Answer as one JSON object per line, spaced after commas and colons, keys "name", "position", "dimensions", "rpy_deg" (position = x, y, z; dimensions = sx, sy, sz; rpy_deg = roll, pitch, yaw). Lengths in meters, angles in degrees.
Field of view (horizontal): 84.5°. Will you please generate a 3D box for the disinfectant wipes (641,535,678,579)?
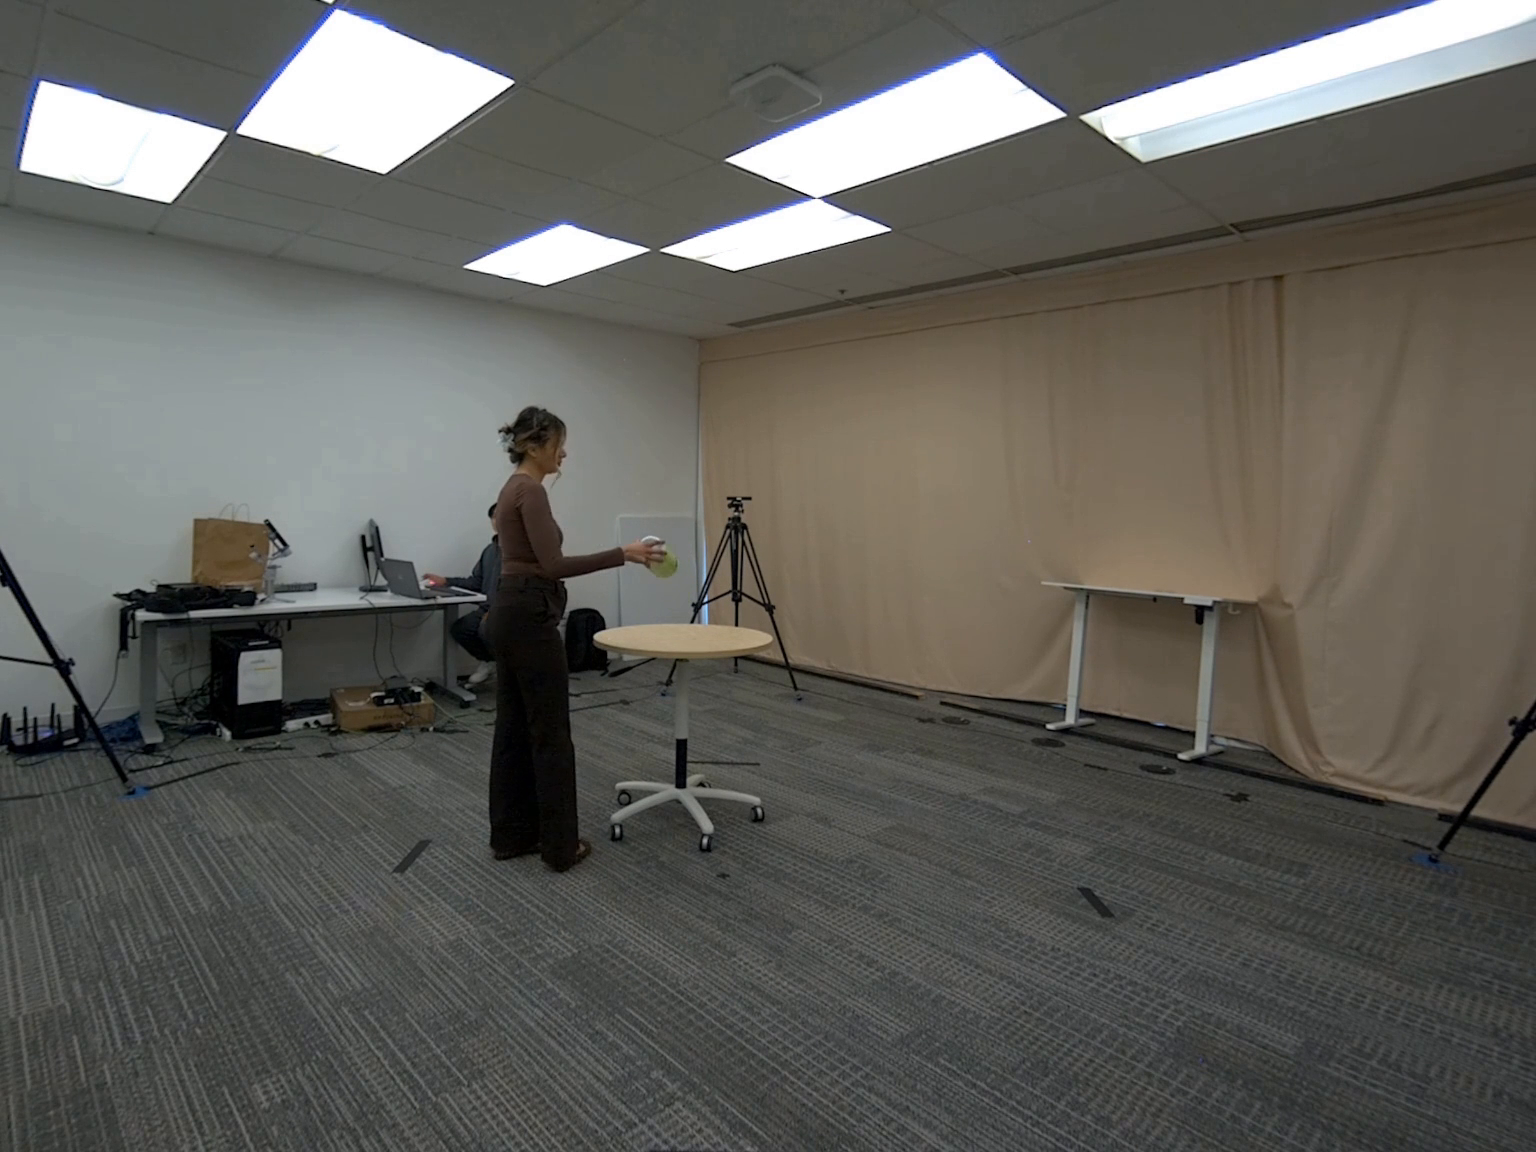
{"name": "disinfectant wipes", "position": [-0.426, -0.068, 3.199], "dimensions": [0.119, 0.119, 0.213], "rpy_deg": [3, -17, 12]}
